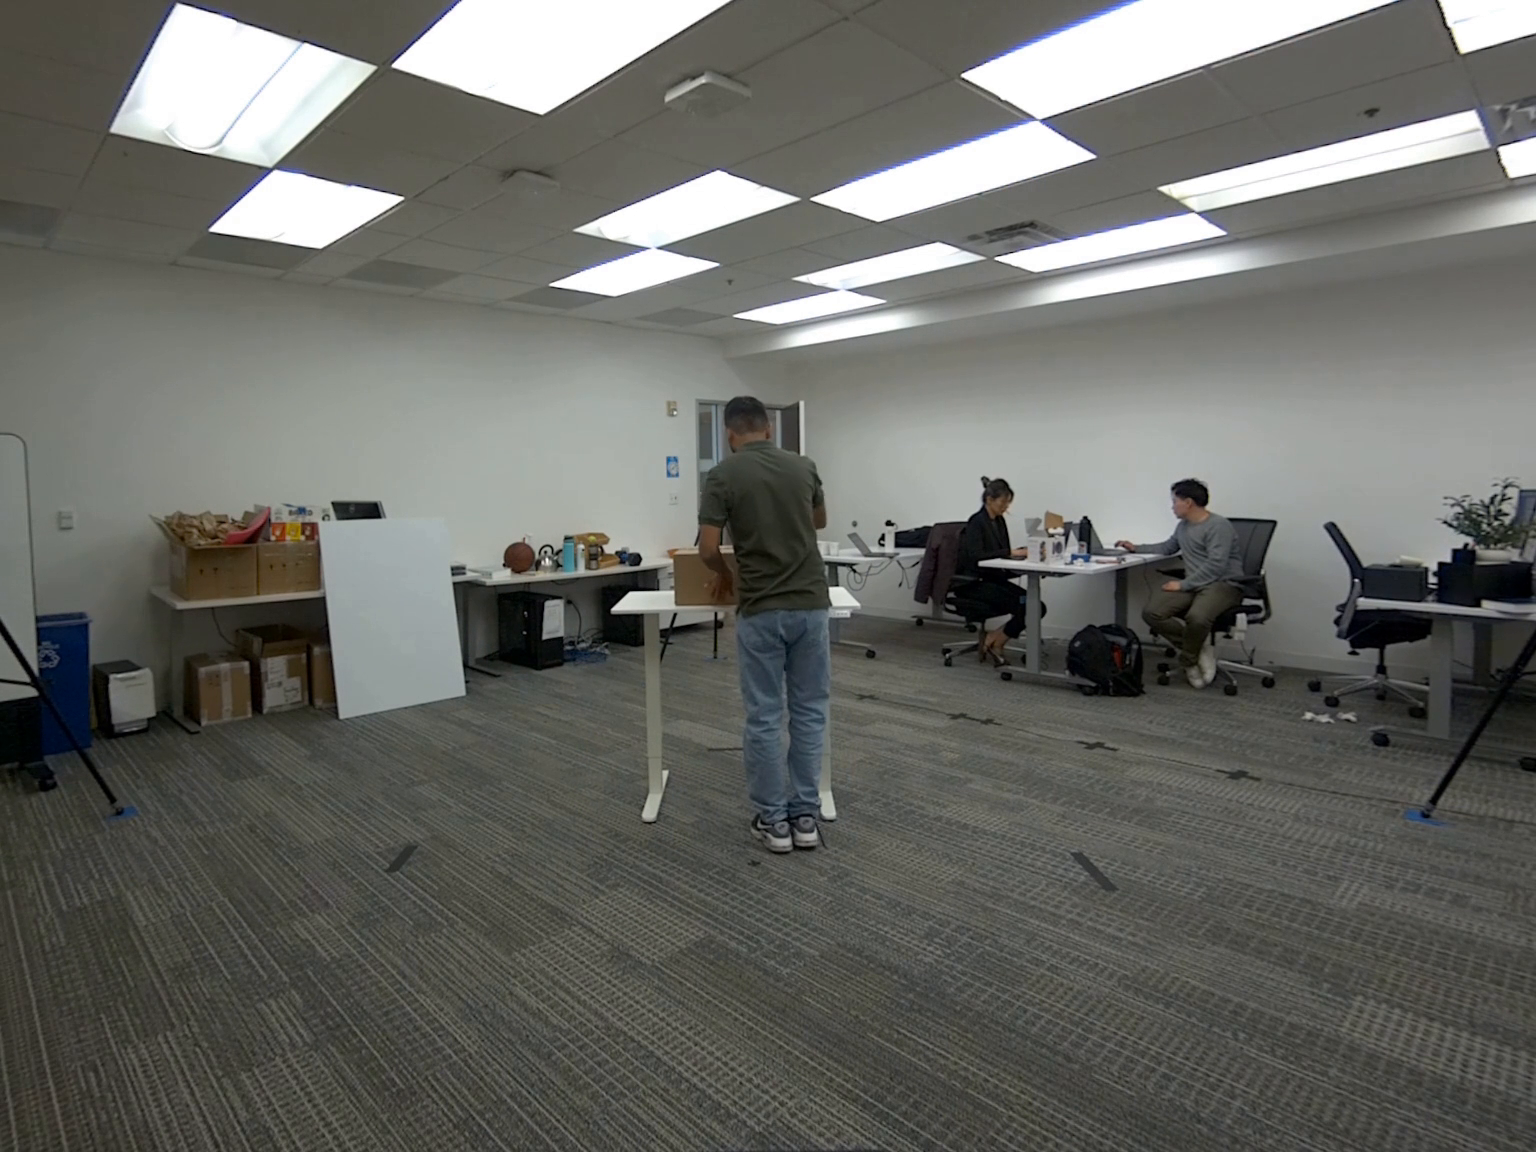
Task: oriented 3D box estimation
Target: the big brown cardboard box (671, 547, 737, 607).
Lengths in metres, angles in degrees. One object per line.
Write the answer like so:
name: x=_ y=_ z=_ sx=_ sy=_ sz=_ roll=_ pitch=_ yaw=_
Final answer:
big brown cardboard box: x=-0.095 y=-0.012 z=3.690 sx=0.592 sy=0.232 sz=0.417 roll=-1 pitch=5 yaw=4
